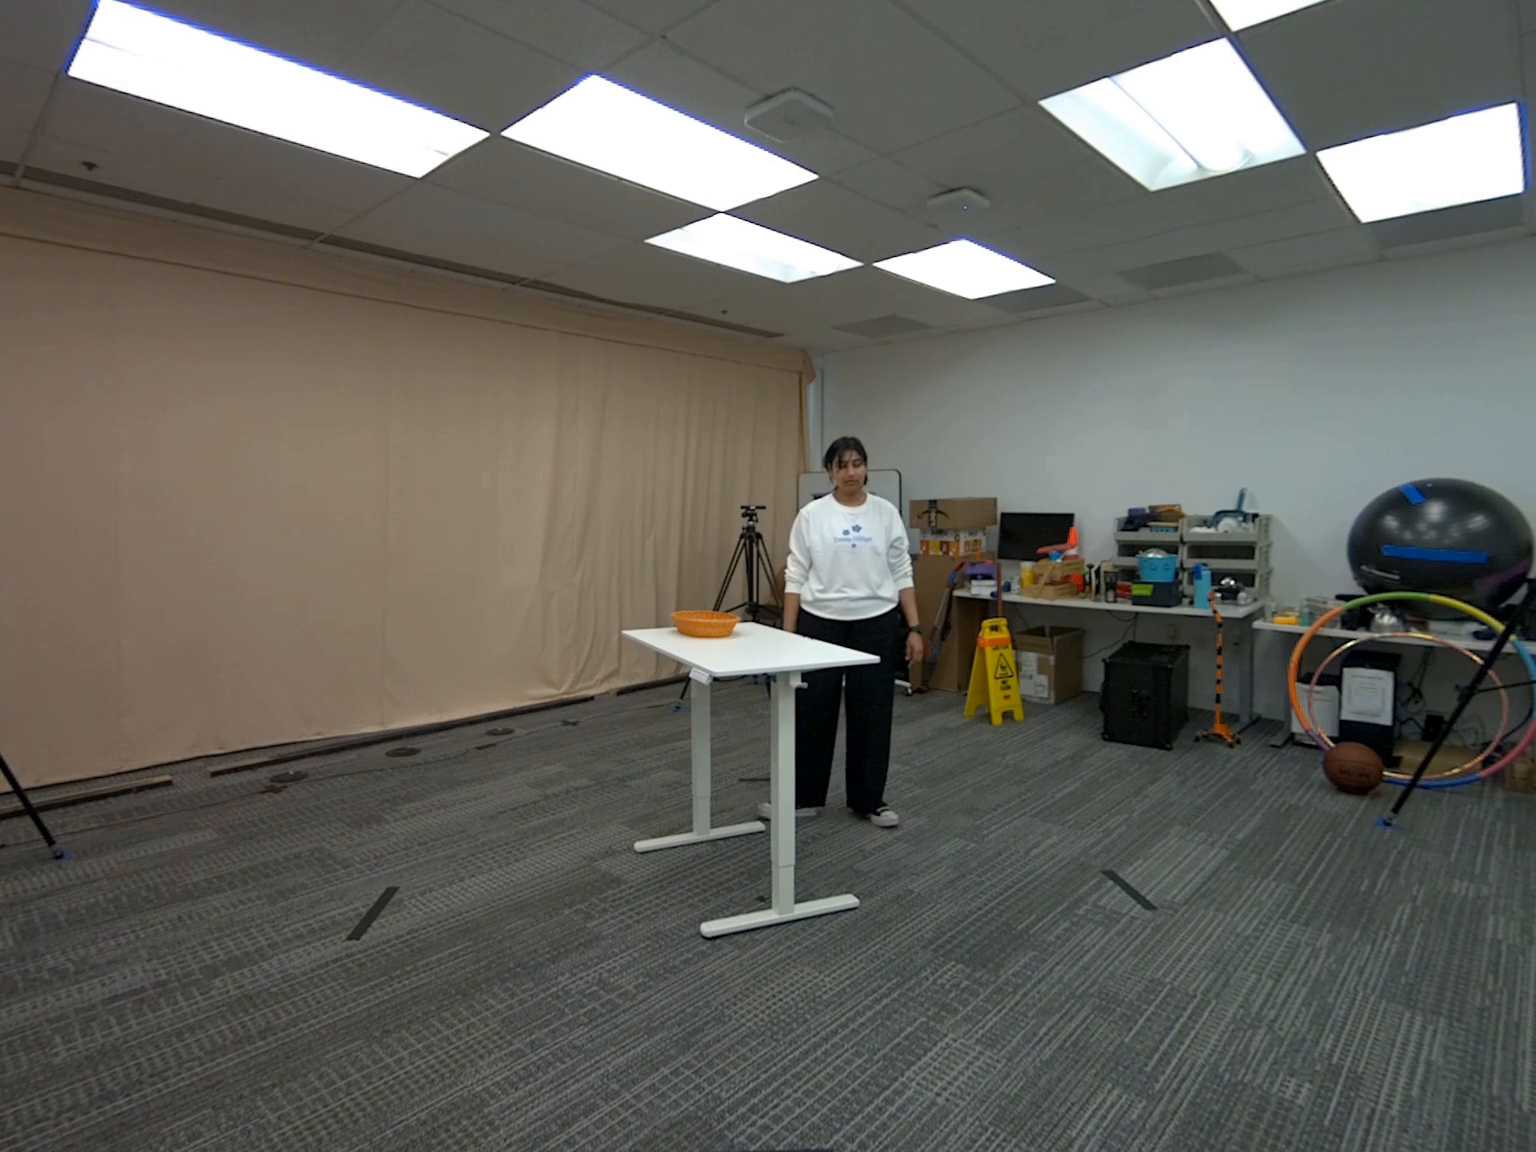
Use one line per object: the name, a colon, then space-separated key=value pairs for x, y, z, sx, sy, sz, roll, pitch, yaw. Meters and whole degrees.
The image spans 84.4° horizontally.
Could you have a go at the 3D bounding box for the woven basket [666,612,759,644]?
woven basket: x=-0.229 y=0.203 z=3.386 sx=0.246 sy=0.073 sz=0.359 roll=-1 pitch=4 yaw=-25
